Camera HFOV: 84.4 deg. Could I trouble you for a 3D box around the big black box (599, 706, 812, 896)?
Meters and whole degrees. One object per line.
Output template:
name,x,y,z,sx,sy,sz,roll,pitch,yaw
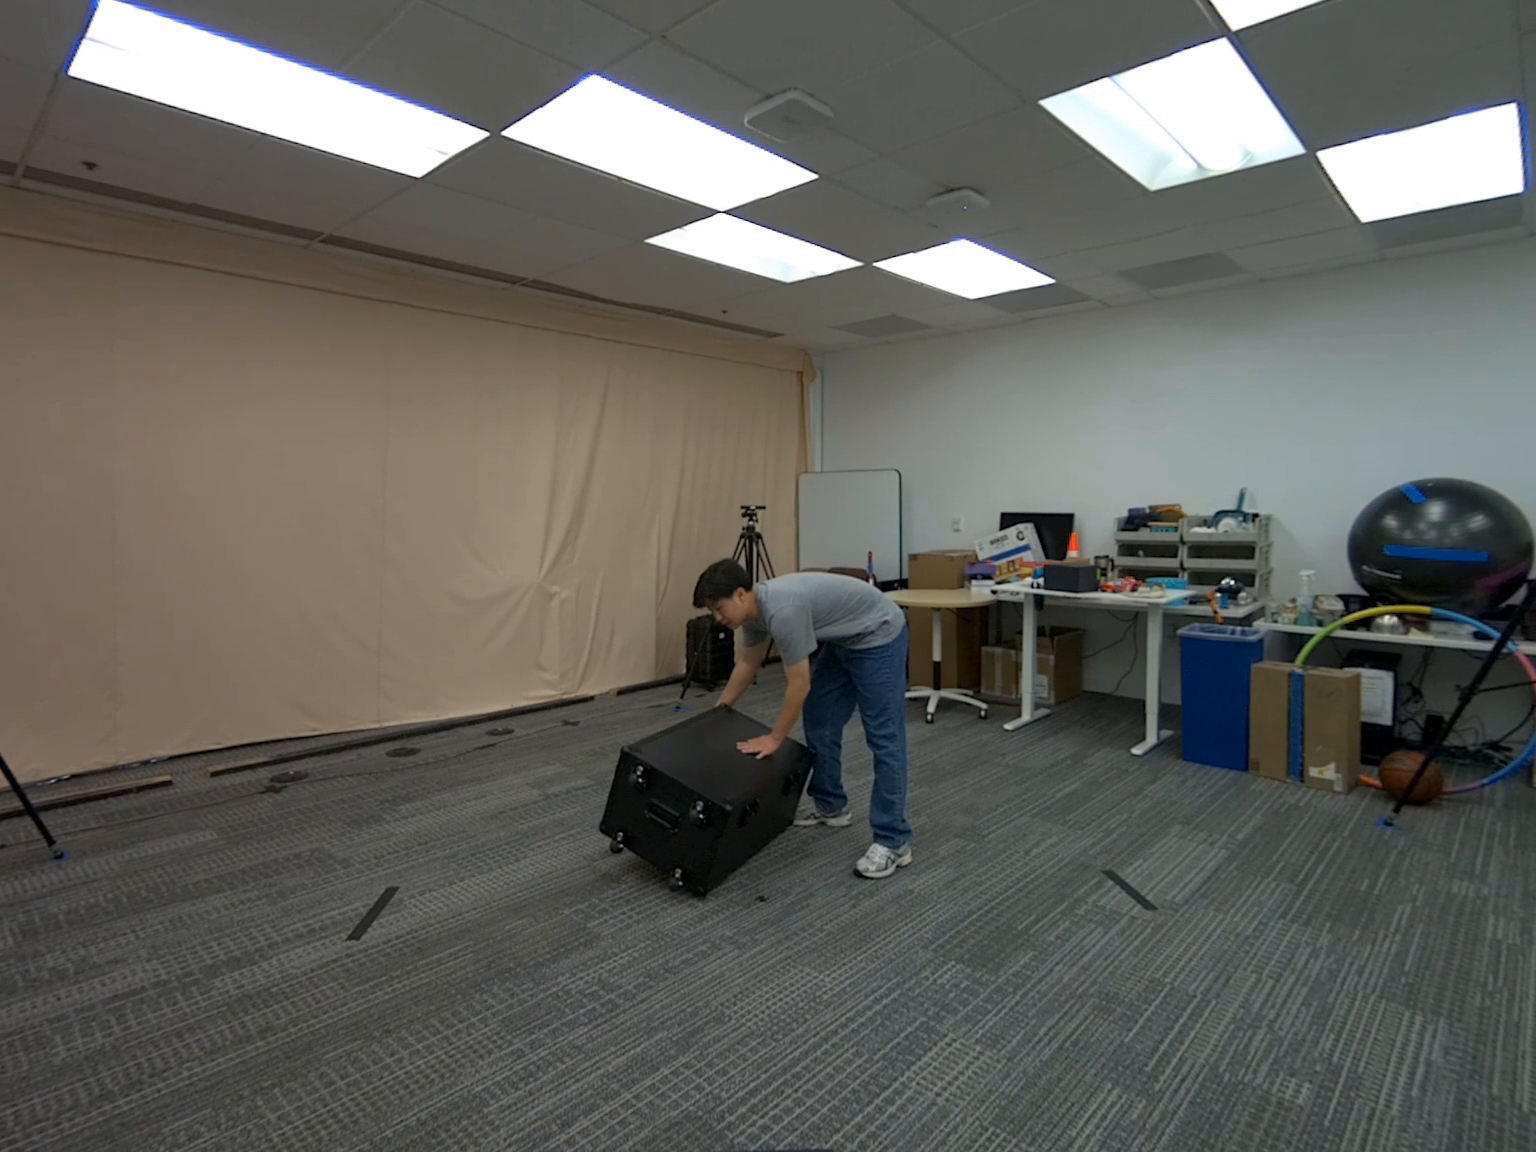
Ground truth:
big black box,-0.237,0.864,3.344,0.536,0.395,0.840,23,13,23
